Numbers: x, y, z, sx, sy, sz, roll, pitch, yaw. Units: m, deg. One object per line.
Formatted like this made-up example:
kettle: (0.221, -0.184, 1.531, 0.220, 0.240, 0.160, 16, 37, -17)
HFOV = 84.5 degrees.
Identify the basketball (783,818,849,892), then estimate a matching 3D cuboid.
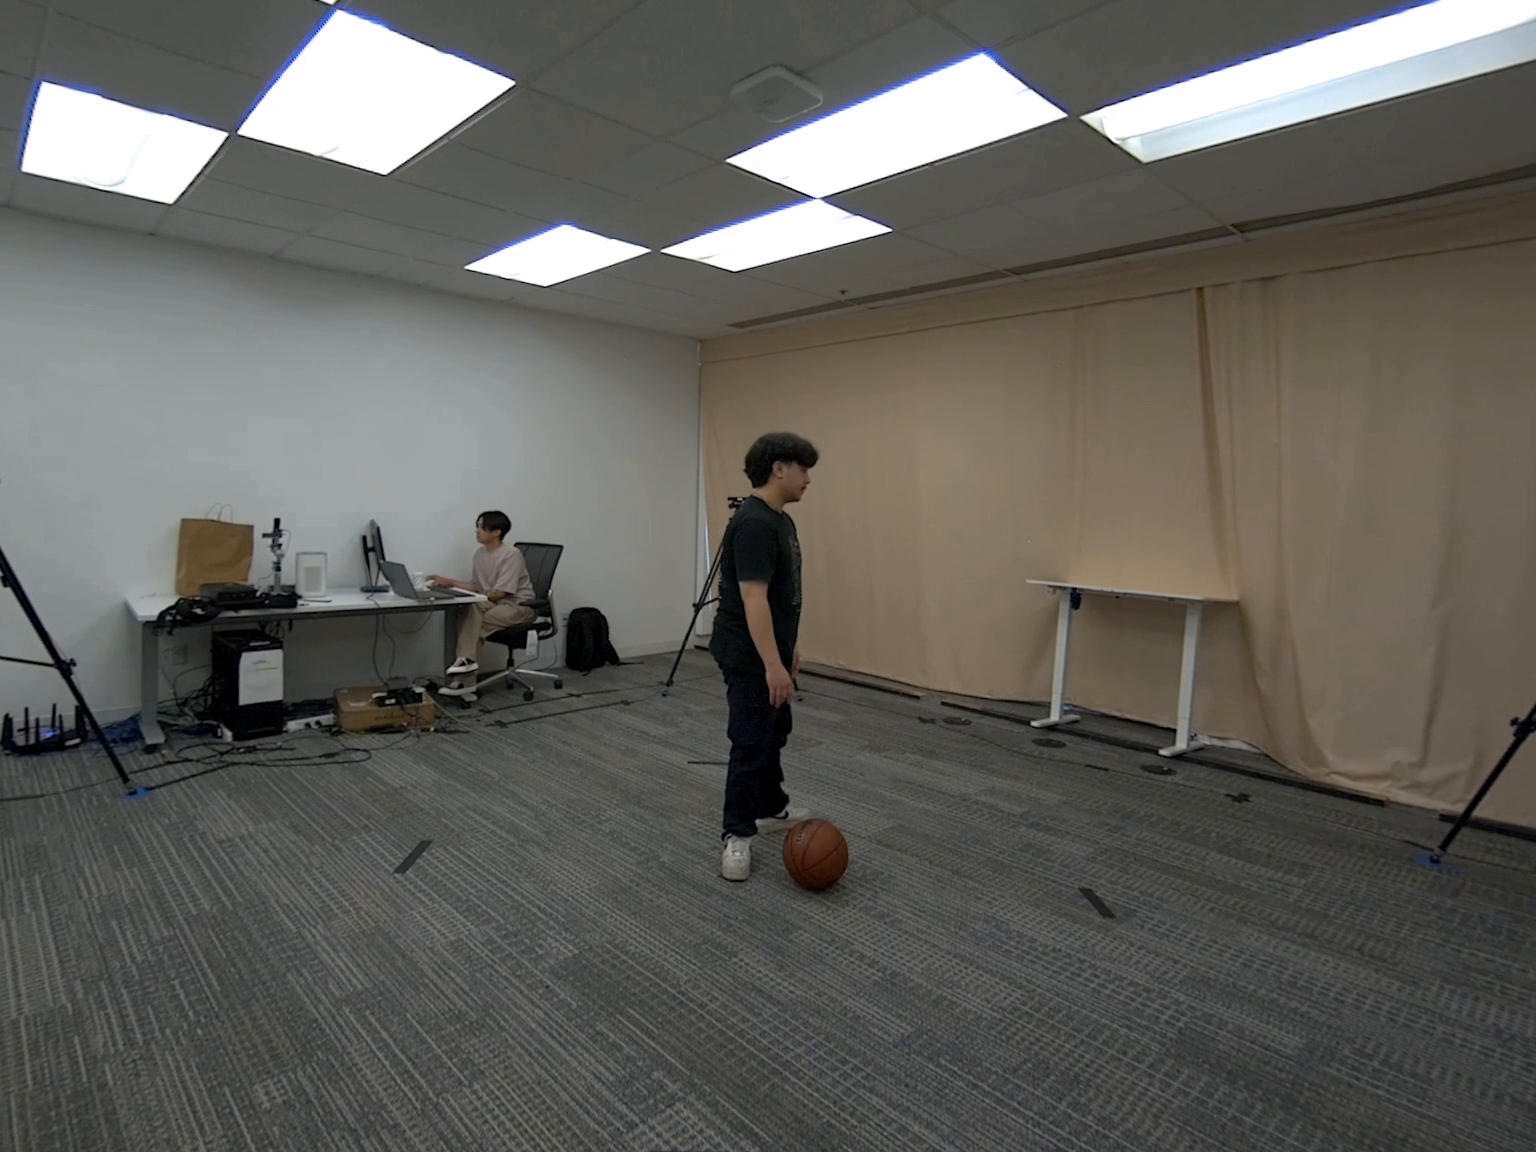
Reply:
basketball: (0.164, 1.001, 3.032, 0.236, 0.235, 0.237, 1, 4, -1)
